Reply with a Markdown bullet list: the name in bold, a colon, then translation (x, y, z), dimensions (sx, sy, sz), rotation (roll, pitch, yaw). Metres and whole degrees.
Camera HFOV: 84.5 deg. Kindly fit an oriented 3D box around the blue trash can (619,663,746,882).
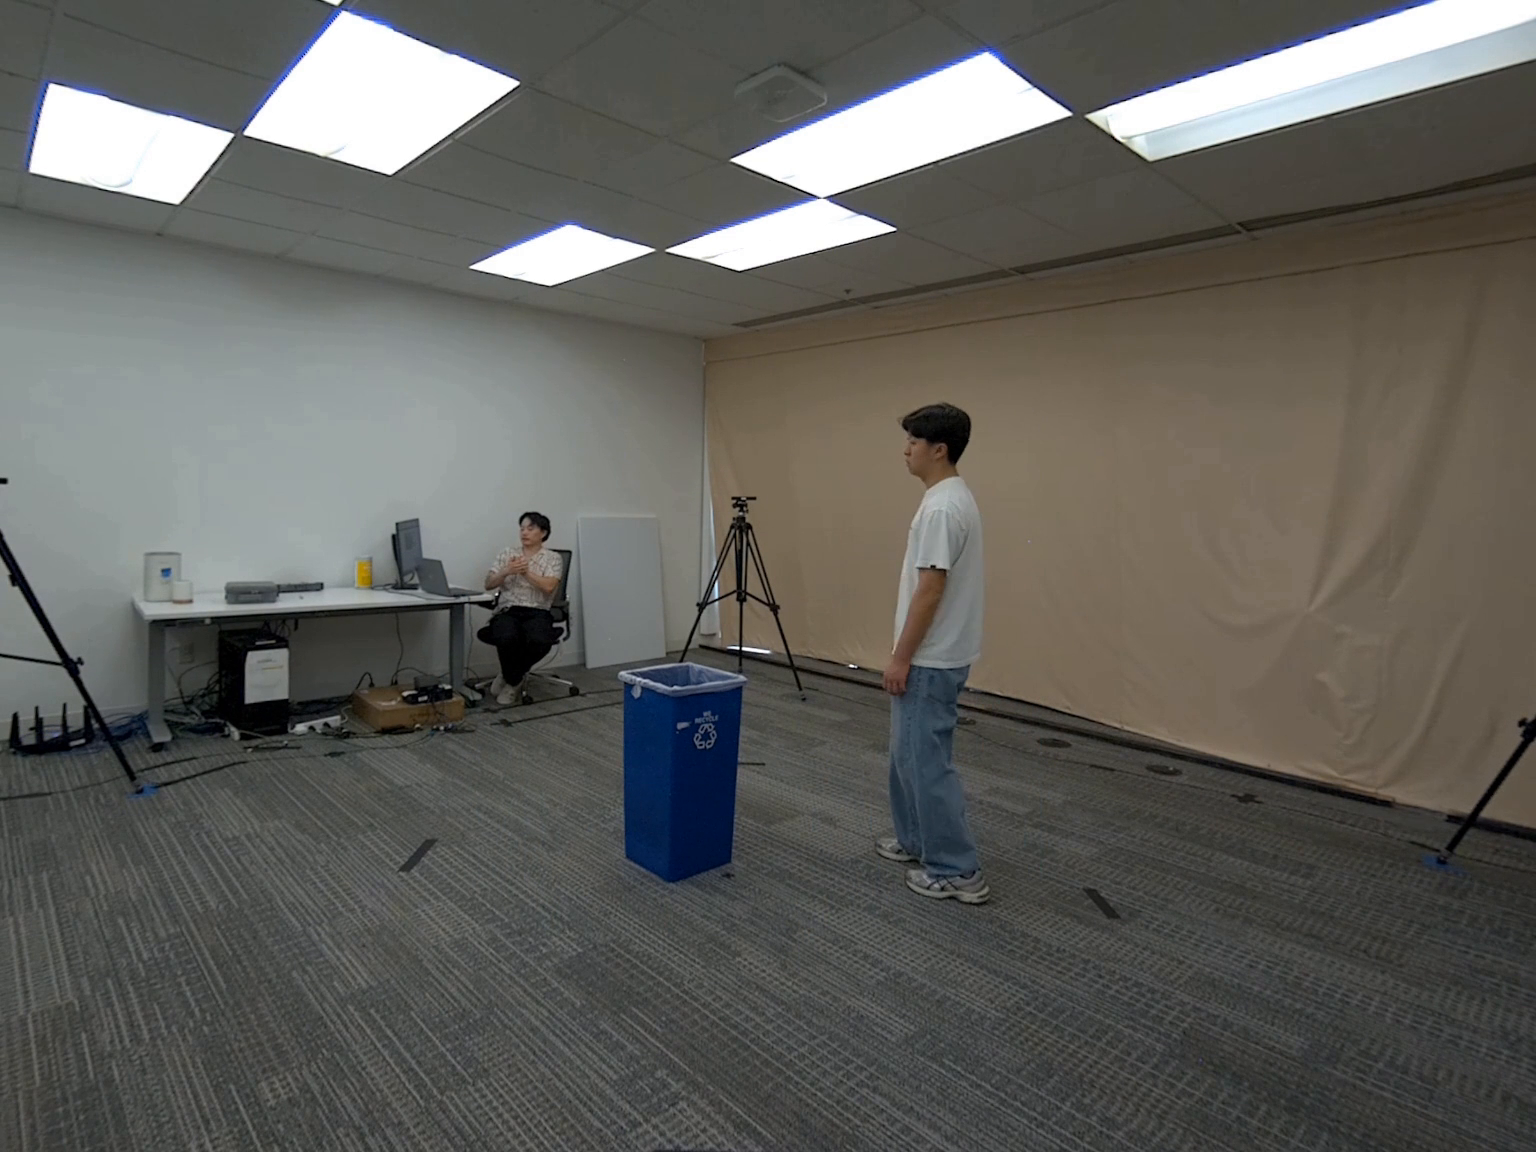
- **blue trash can**: translation (-0.336, 0.729, 3.226), dimensions (0.365, 0.712, 0.388), rotation (-2, 5, -43)
